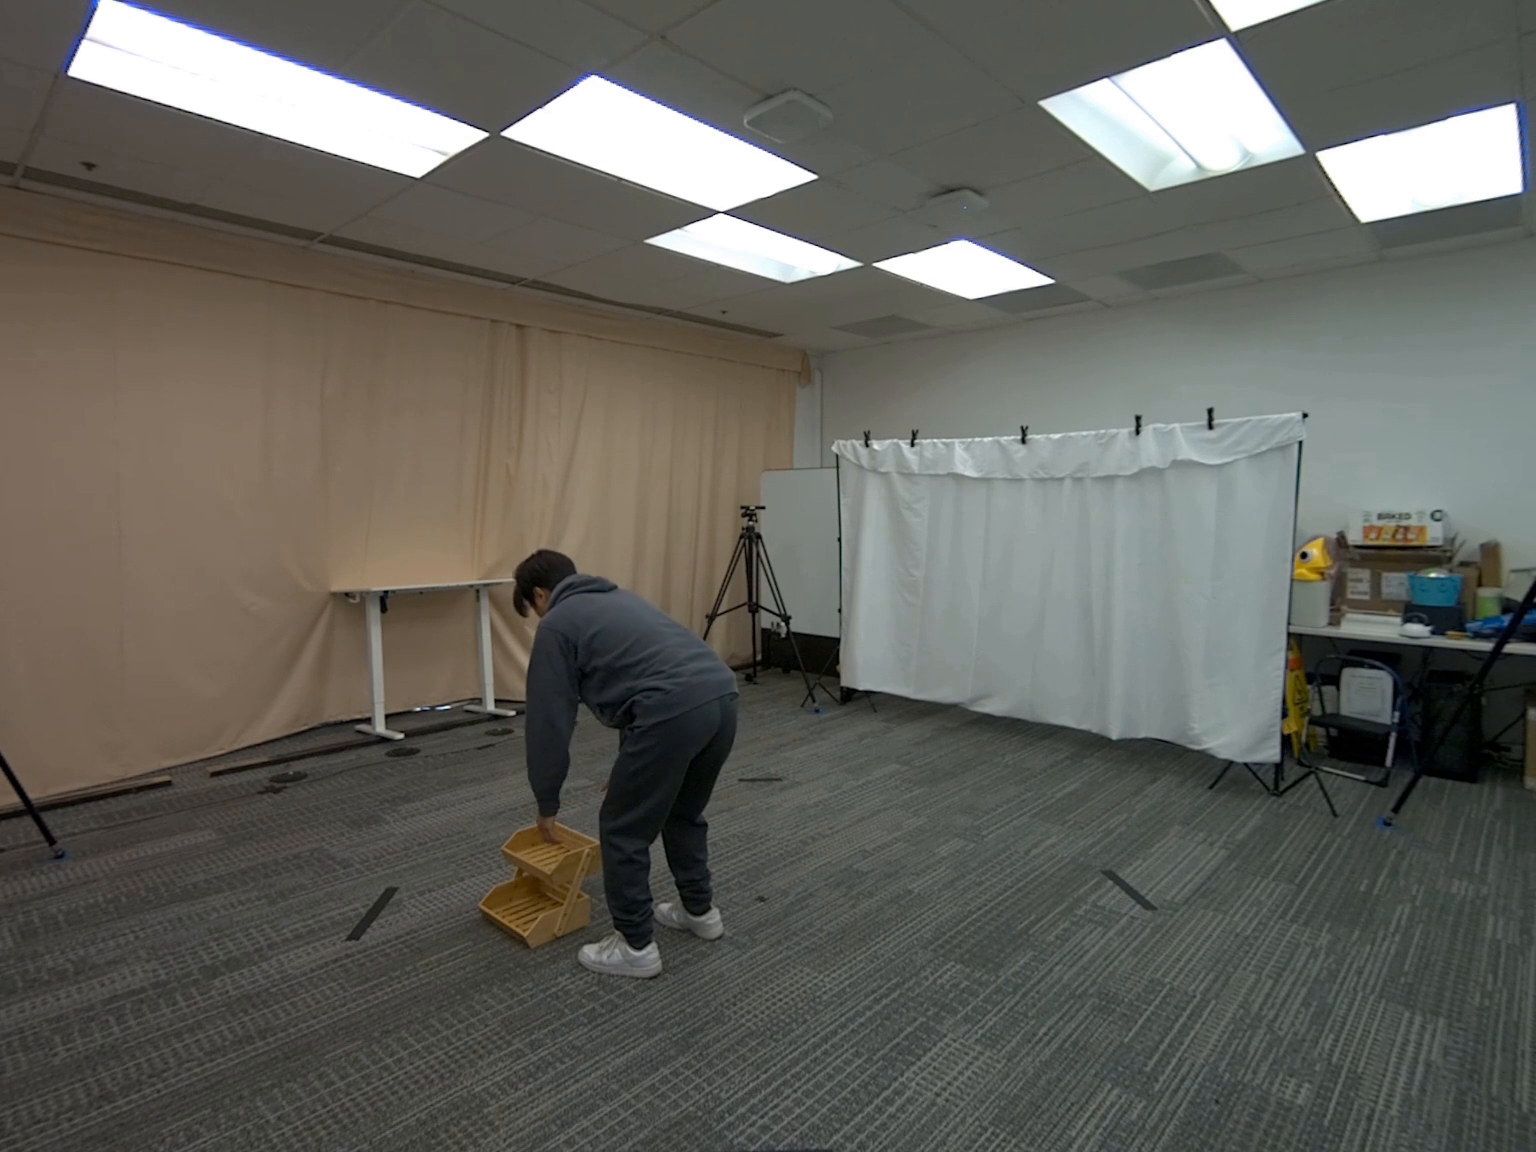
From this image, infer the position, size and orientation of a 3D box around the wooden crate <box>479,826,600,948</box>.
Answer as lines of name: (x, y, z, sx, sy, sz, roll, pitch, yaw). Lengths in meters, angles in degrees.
wooden crate: (-0.769, 1.026, 2.857, 0.335, 0.273, 0.292, 3, 4, 43)
